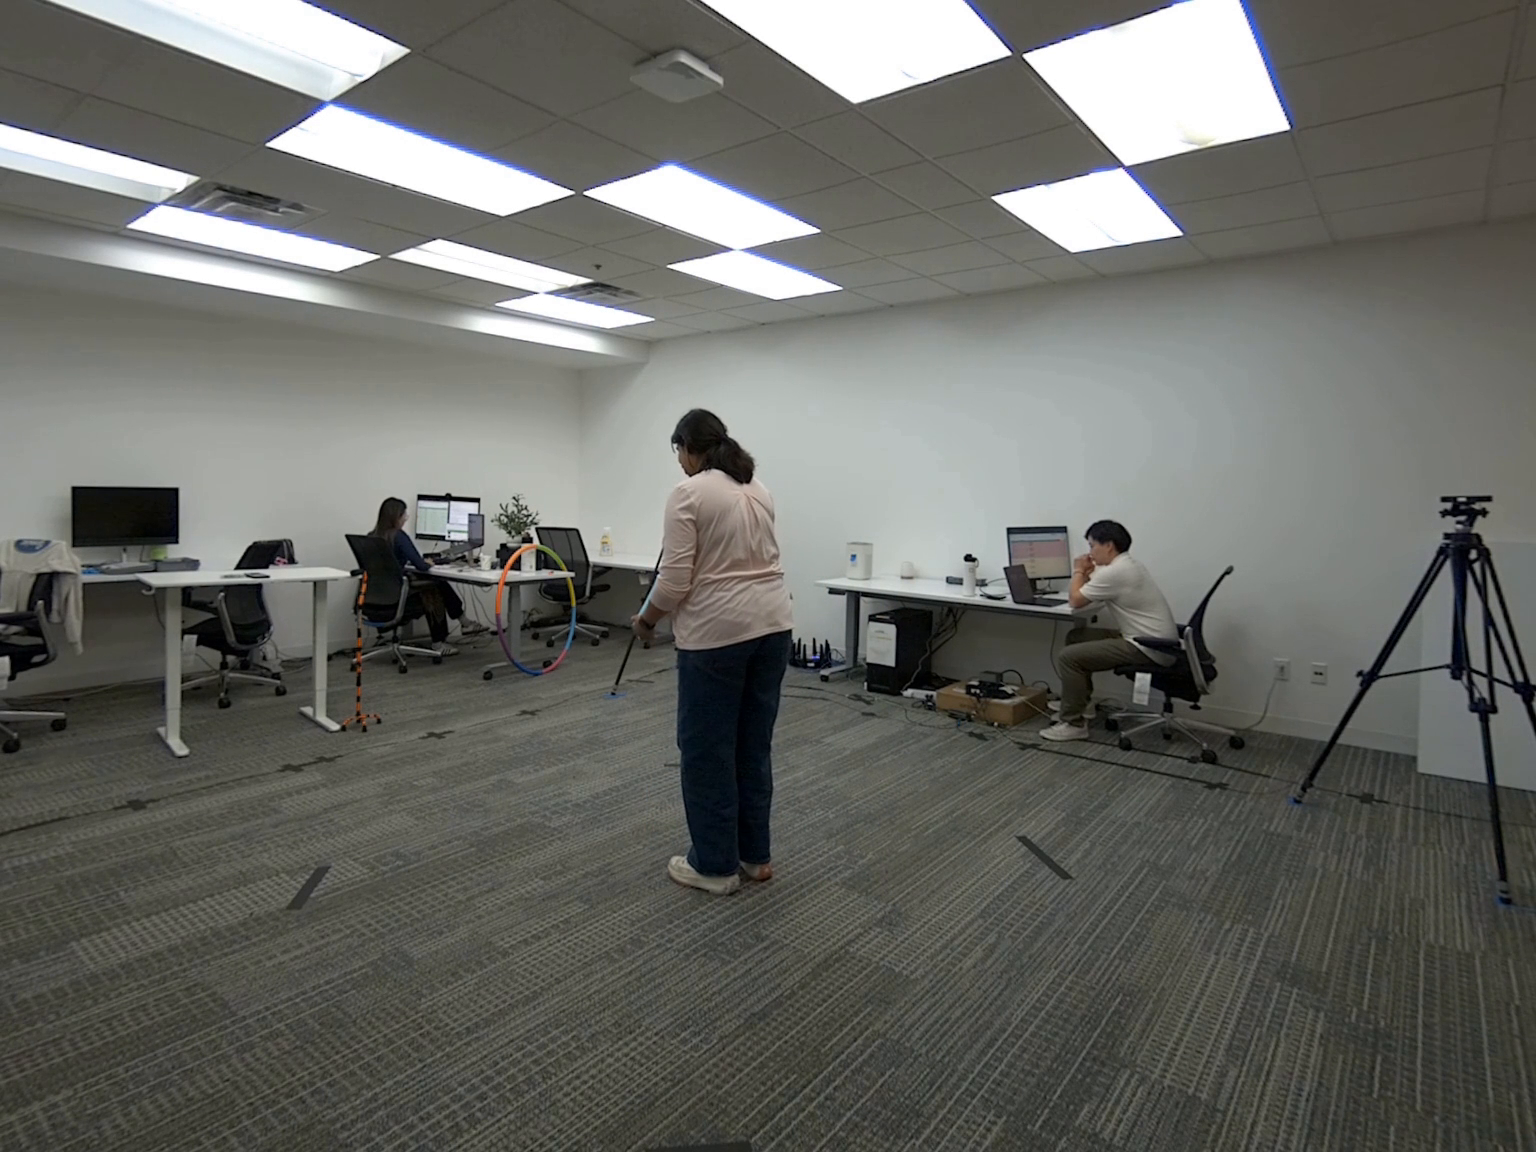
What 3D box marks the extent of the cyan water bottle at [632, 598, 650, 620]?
[{"bbox_3d":[-0.404,0.091,3.149,0.094,0.286,0.090,20,-29,10],"label":"cyan water bottle"}]
